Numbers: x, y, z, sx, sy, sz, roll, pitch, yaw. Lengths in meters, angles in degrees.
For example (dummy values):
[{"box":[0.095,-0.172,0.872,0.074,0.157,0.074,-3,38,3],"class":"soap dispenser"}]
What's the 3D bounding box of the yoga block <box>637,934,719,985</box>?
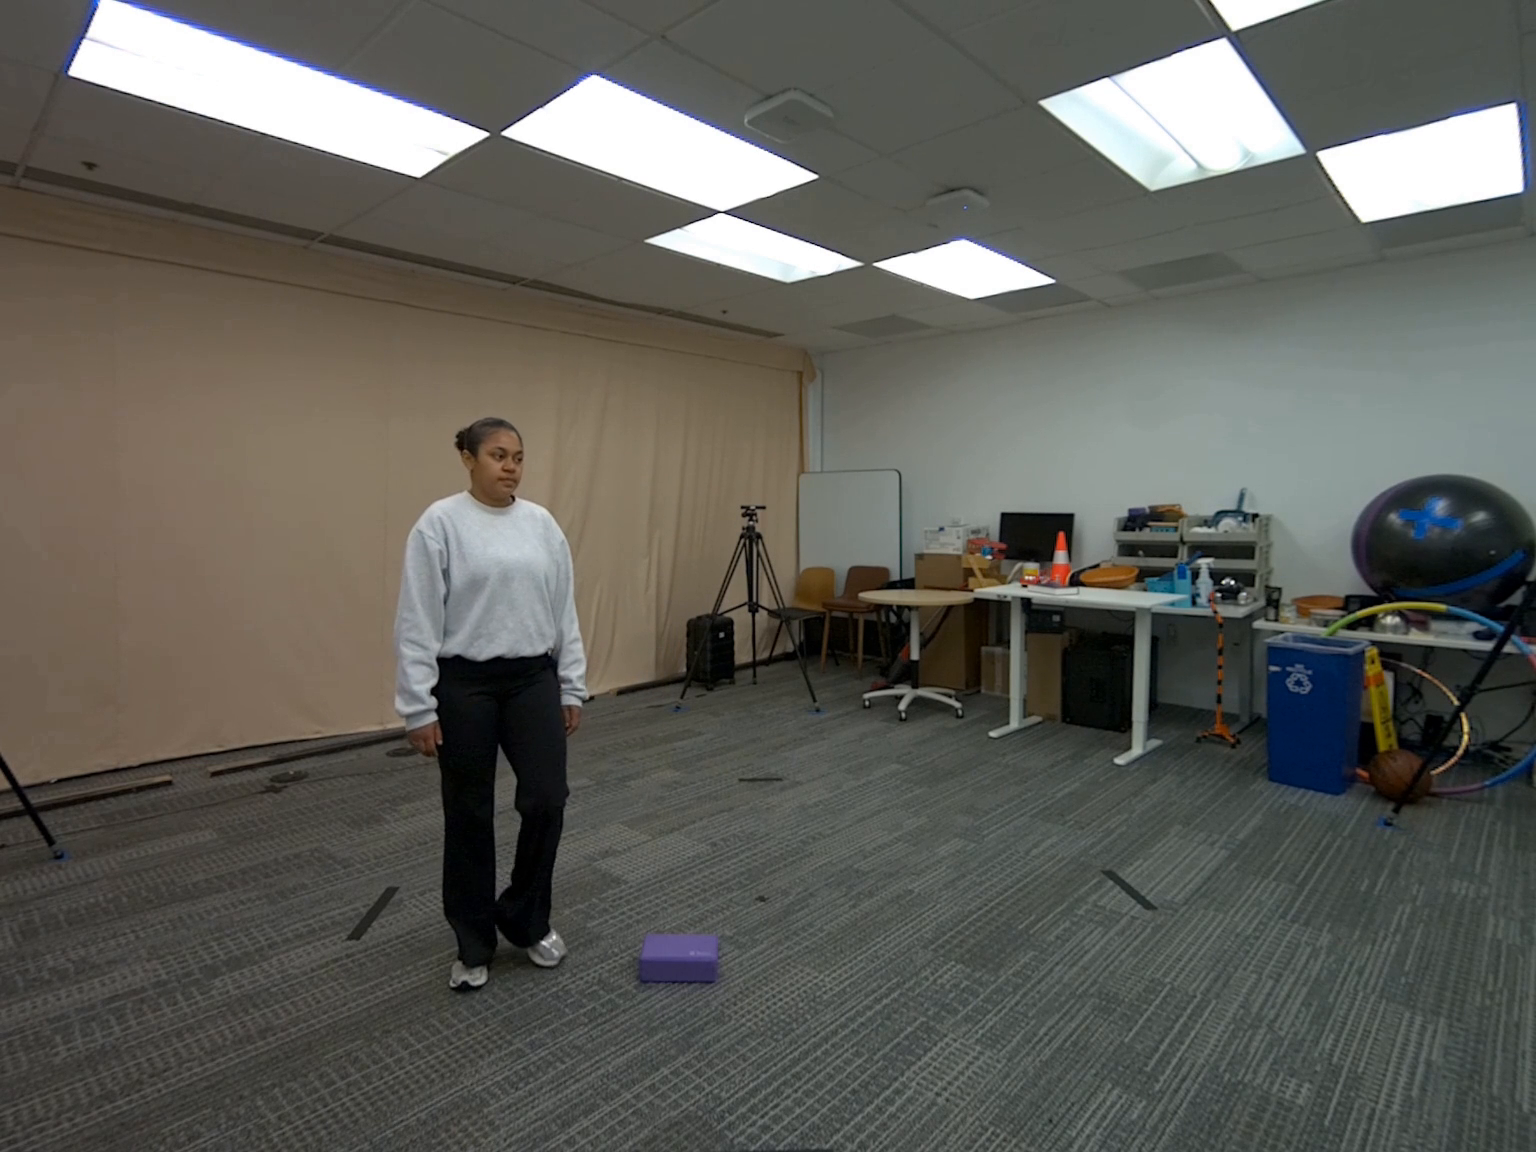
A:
[{"box":[-0.264,1.145,2.517,0.230,0.076,0.149,0,2,1],"class":"yoga block"}]
